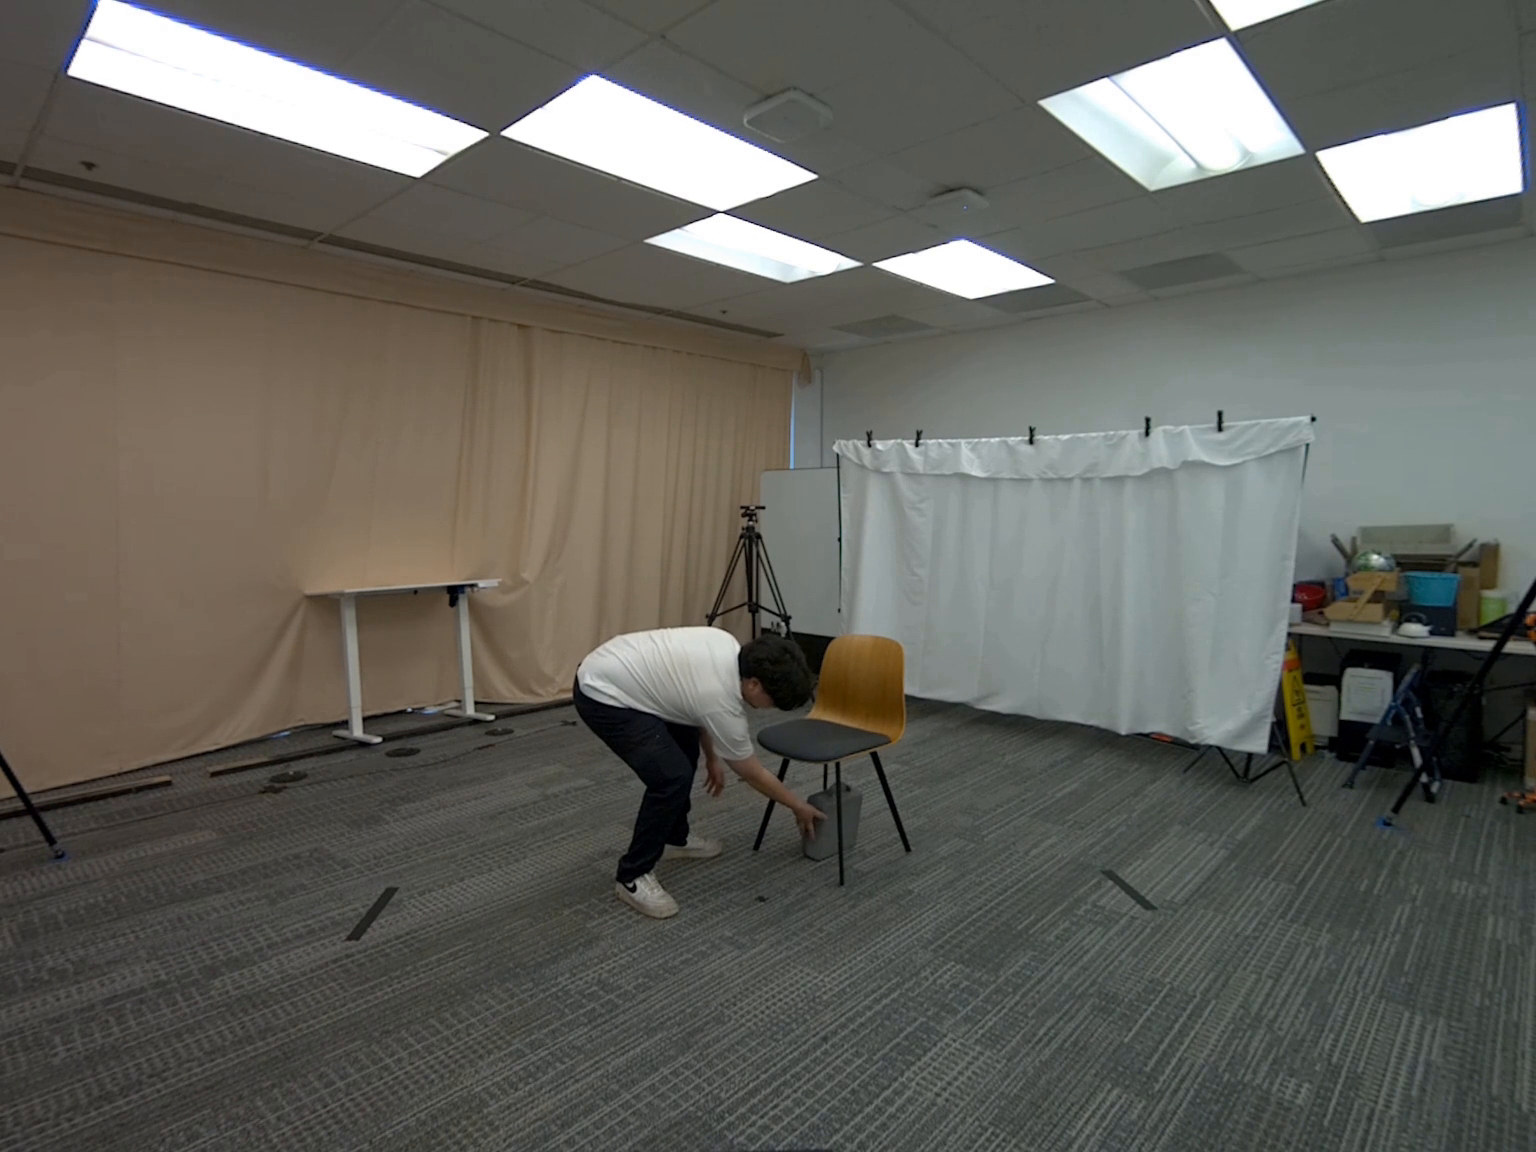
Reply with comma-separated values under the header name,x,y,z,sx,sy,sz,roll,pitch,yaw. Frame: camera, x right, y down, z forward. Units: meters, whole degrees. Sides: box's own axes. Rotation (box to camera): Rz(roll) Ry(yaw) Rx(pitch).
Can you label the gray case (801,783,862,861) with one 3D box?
name,x,y,z,sx,sy,sz,roll,pitch,yaw
gray case,0.261,0.982,3.368,0.249,0.259,0.108,-4,15,-43
